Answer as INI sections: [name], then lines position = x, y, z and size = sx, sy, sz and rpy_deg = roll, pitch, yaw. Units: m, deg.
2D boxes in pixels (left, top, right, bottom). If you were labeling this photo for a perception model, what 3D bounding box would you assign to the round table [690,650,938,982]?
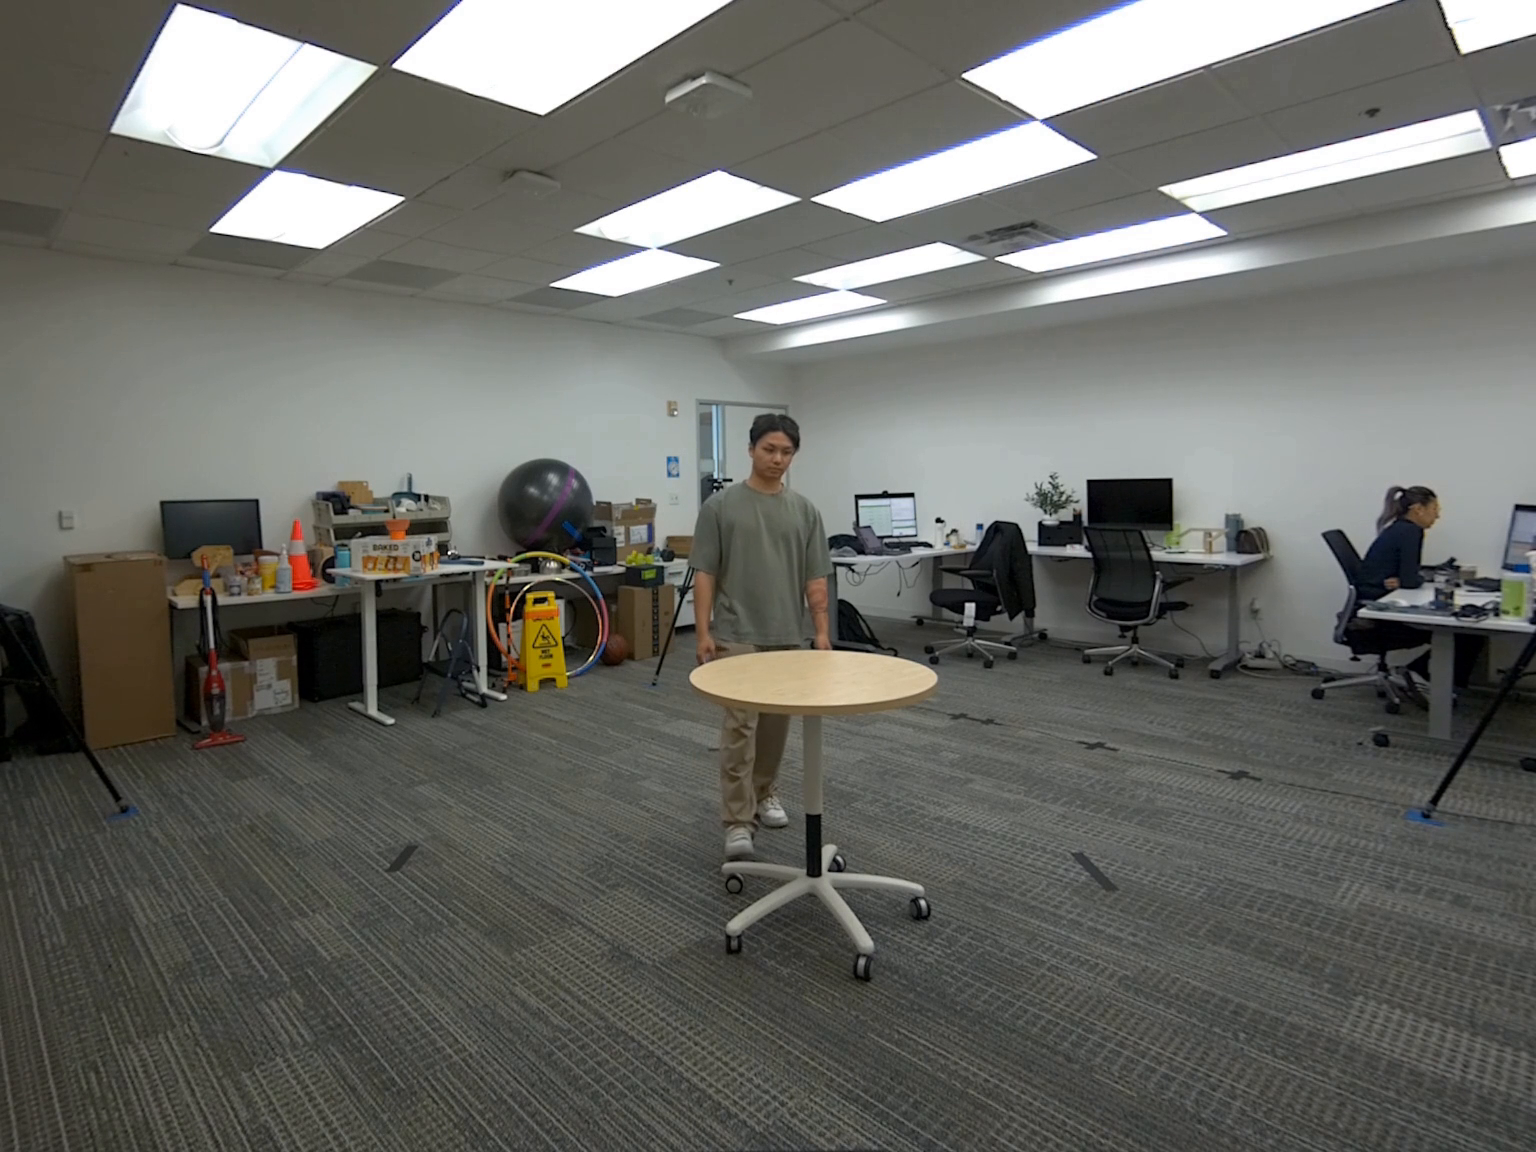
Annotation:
[round table]
position = 0.148, 0.702, 2.676
size = 0.784, 0.784, 0.788
rpy_deg = -1, 4, -2
